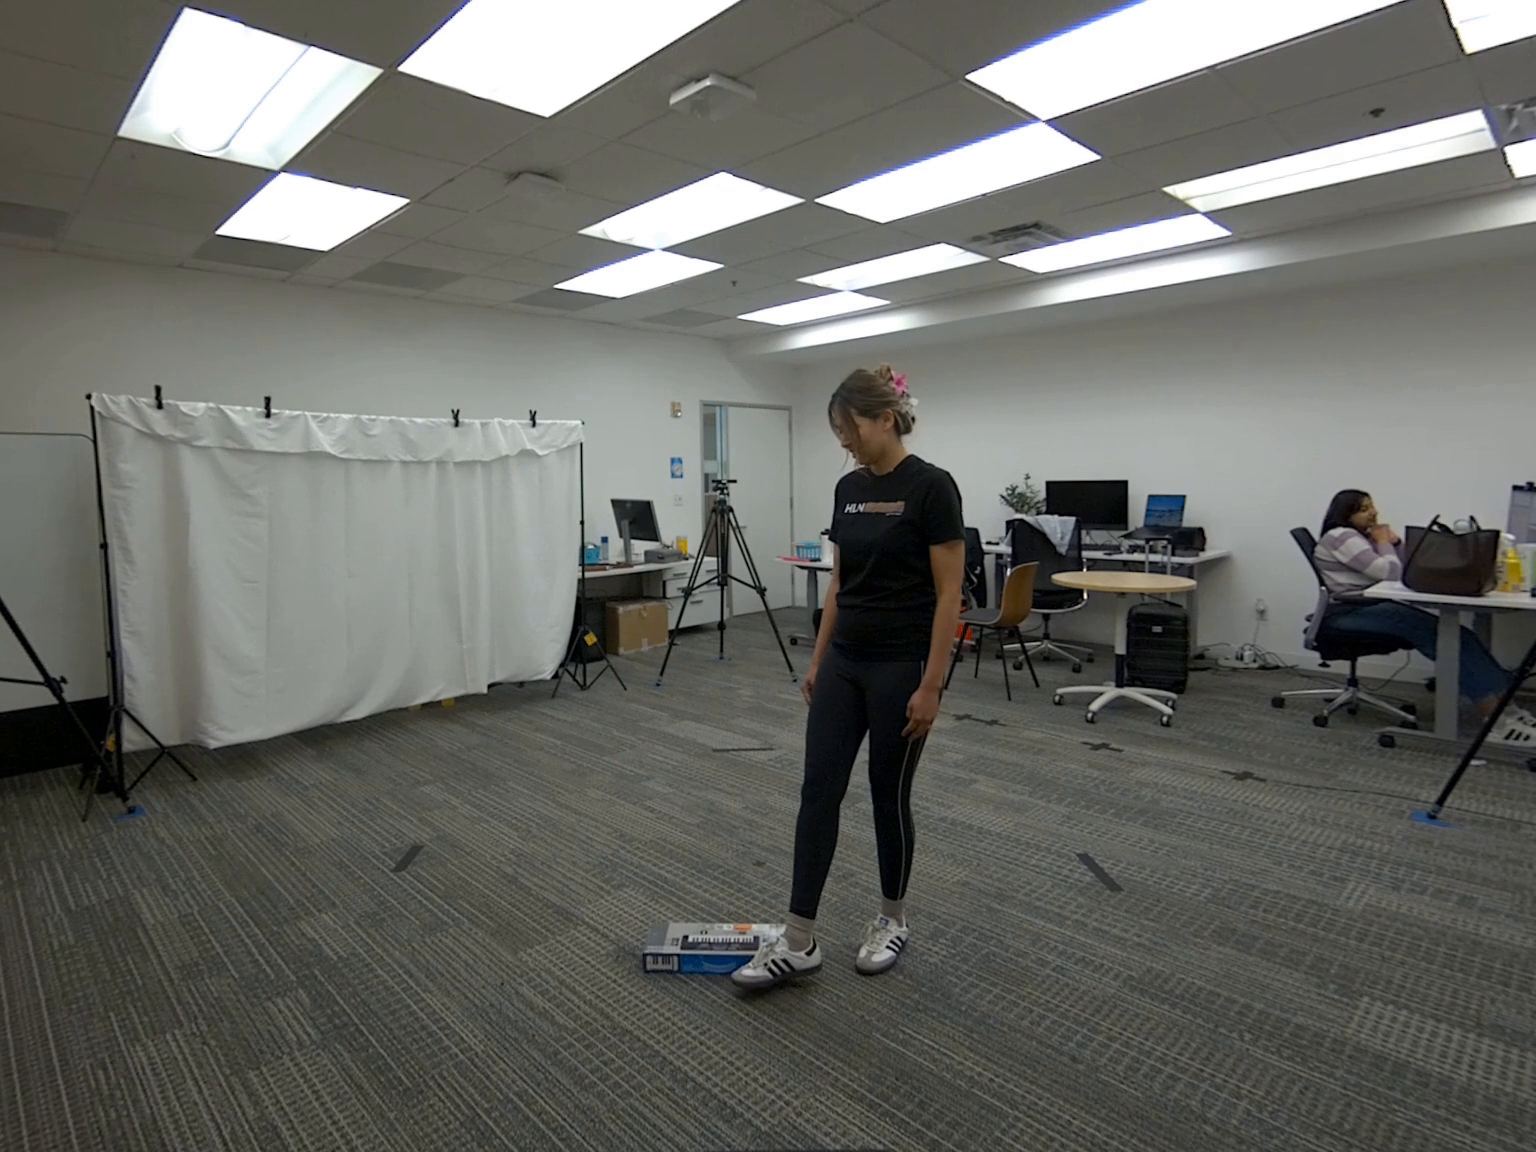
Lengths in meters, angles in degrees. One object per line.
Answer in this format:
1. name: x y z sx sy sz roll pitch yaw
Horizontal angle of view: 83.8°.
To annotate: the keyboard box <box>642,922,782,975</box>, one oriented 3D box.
1. keyboard box: -0.128 1.090 2.501 0.439 0.059 0.176 -1 6 5
